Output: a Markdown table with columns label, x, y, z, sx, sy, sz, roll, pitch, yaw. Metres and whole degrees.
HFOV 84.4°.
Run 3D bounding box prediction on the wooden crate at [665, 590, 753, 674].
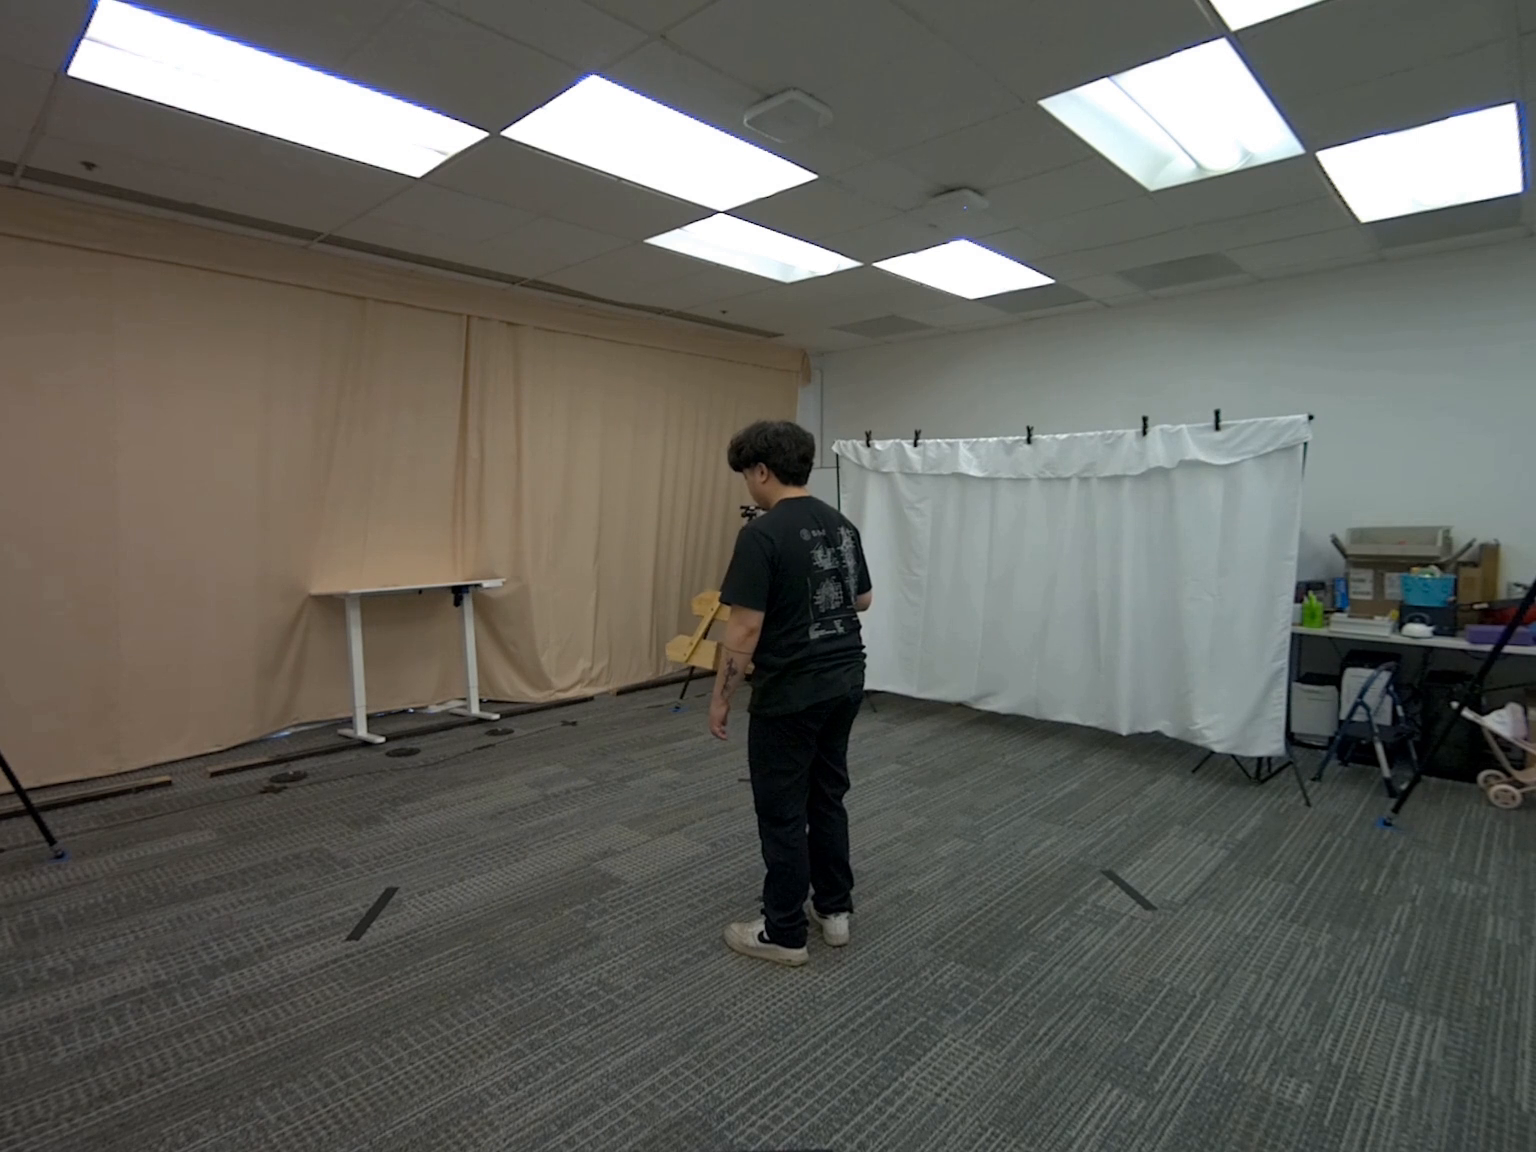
| label | x | y | z | sx | sy | sz | roll | pitch | yaw |
| --- | --- | --- | --- | --- | --- | --- | --- | --- | --- |
| wooden crate | -0.138 | 0.198 | 2.986 | 0.312 | 0.274 | 0.313 | 6 | -5 | 44 |
